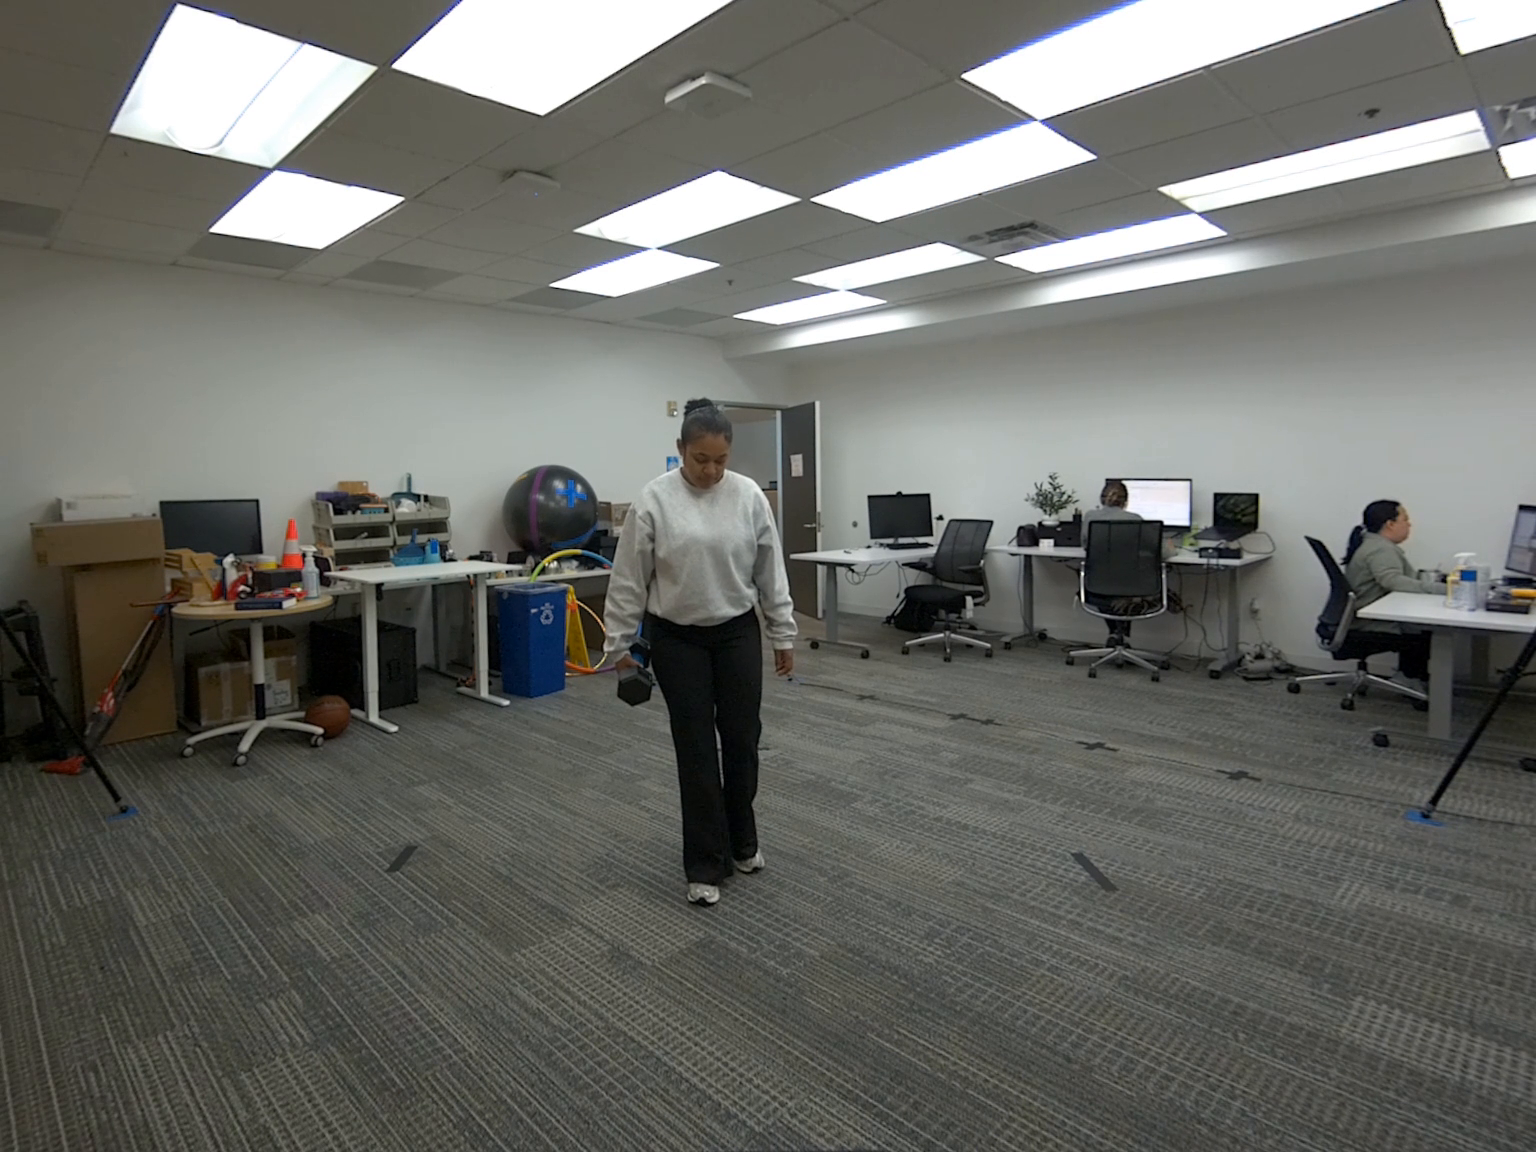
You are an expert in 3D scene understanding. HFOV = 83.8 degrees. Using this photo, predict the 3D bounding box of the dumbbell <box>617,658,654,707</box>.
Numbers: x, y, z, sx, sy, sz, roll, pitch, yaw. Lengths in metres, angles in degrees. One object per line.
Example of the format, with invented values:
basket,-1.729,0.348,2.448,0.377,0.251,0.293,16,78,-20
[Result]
dumbbell,-0.452,0.317,2.863,0.107,0.121,0.300,9,19,-12
